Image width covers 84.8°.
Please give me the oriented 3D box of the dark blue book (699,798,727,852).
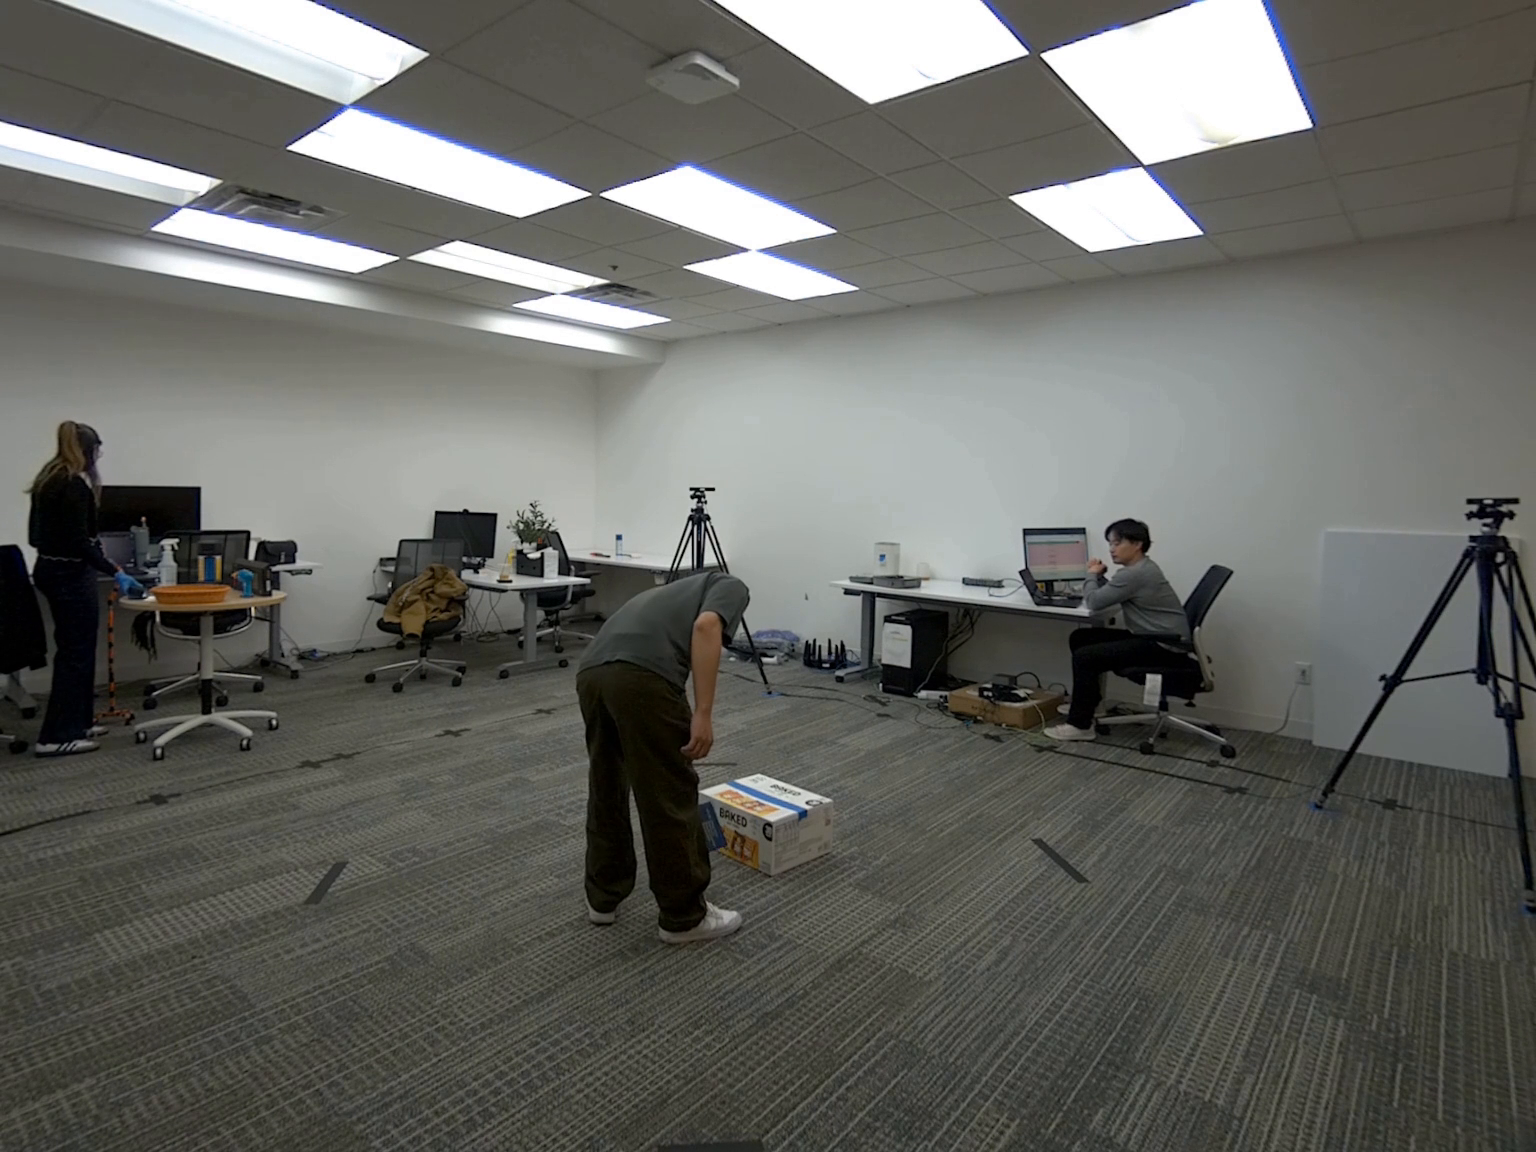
[{"bbox_3d":[-0.254,0.883,2.950,0.045,0.167,0.237,-36,-22,30],"label":"dark blue book"}]
